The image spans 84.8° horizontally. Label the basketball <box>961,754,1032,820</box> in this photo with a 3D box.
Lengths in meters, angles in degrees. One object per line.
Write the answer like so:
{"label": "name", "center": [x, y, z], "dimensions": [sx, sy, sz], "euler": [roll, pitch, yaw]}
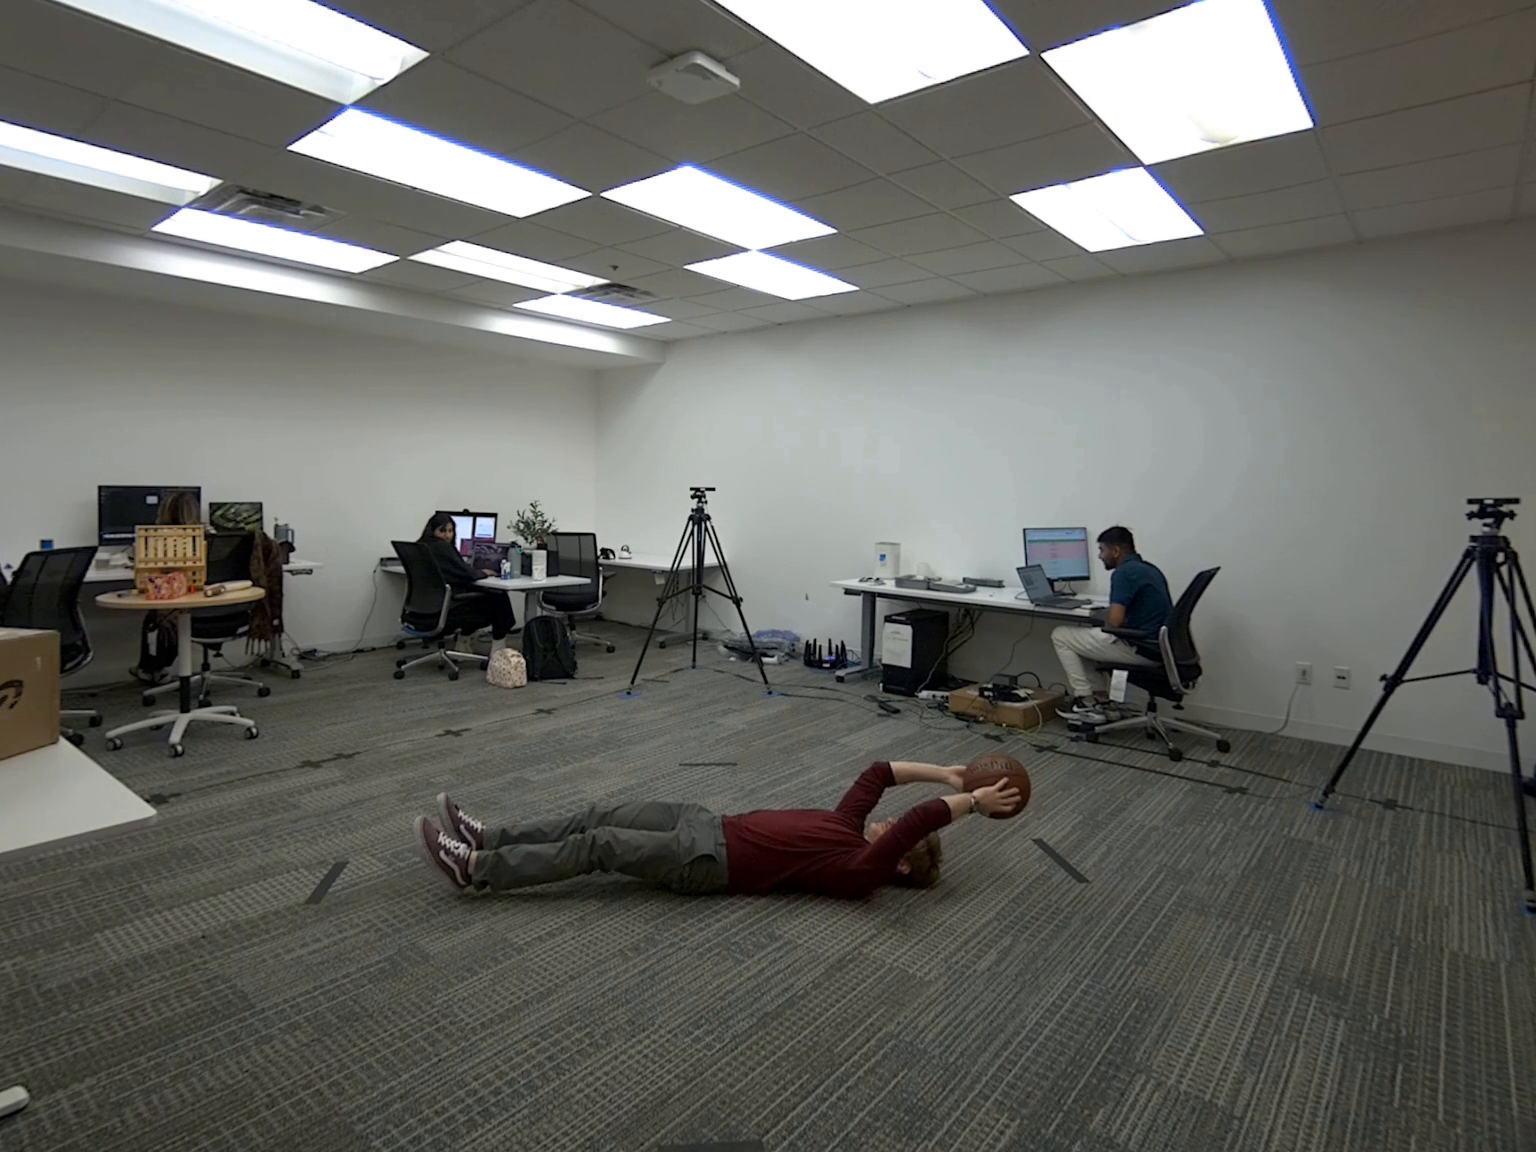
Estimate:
{"label": "basketball", "center": [0.826, 0.750, 3.131], "dimensions": [0.235, 0.235, 0.237], "euler": [1, 4, -2]}
